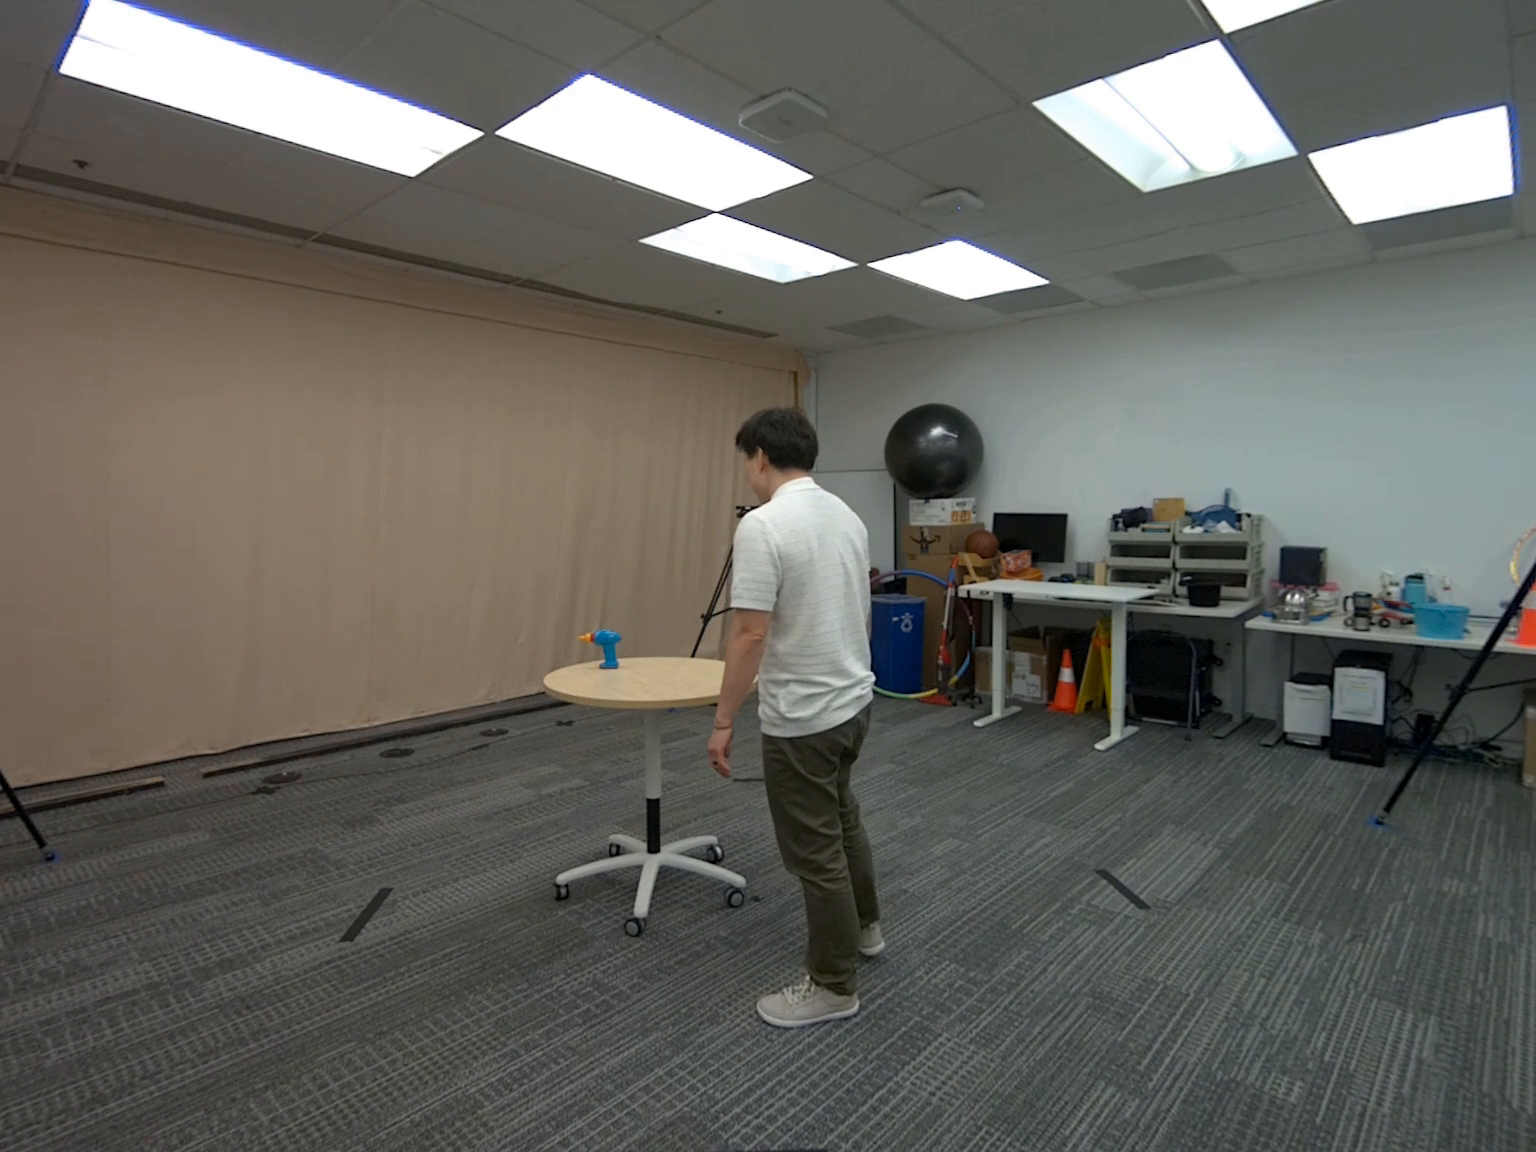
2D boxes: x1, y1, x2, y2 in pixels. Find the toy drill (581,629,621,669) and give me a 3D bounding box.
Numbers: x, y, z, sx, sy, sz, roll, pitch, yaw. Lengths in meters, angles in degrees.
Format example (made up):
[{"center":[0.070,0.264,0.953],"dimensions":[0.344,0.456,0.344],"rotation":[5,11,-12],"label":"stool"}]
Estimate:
[{"center":[-0.636,0.274,3.178],"dimensions":[0.170,0.146,0.061],"rotation":[0,4,1],"label":"toy drill"}]
